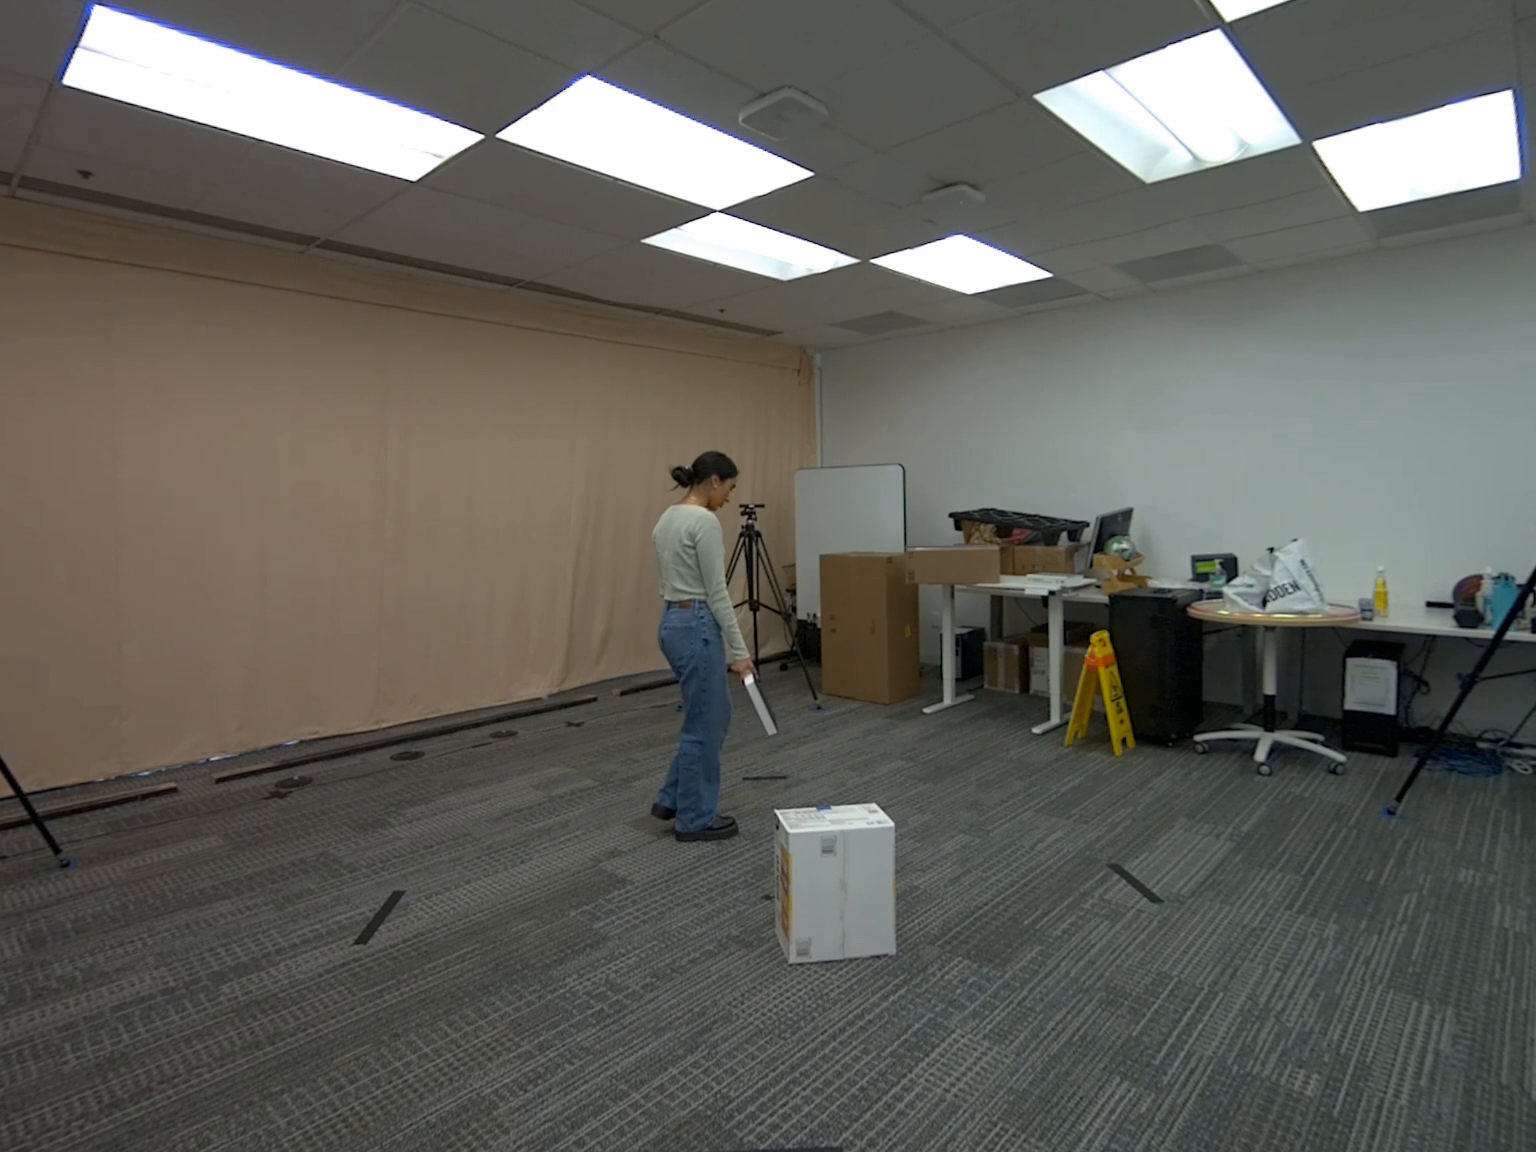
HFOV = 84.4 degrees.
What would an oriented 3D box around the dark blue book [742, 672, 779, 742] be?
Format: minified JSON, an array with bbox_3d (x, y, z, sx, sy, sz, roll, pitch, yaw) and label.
[{"bbox_3d":[-0.036,0.503,3.349,0.045,0.242,0.165,-23,14,2],"label":"dark blue book"}]
